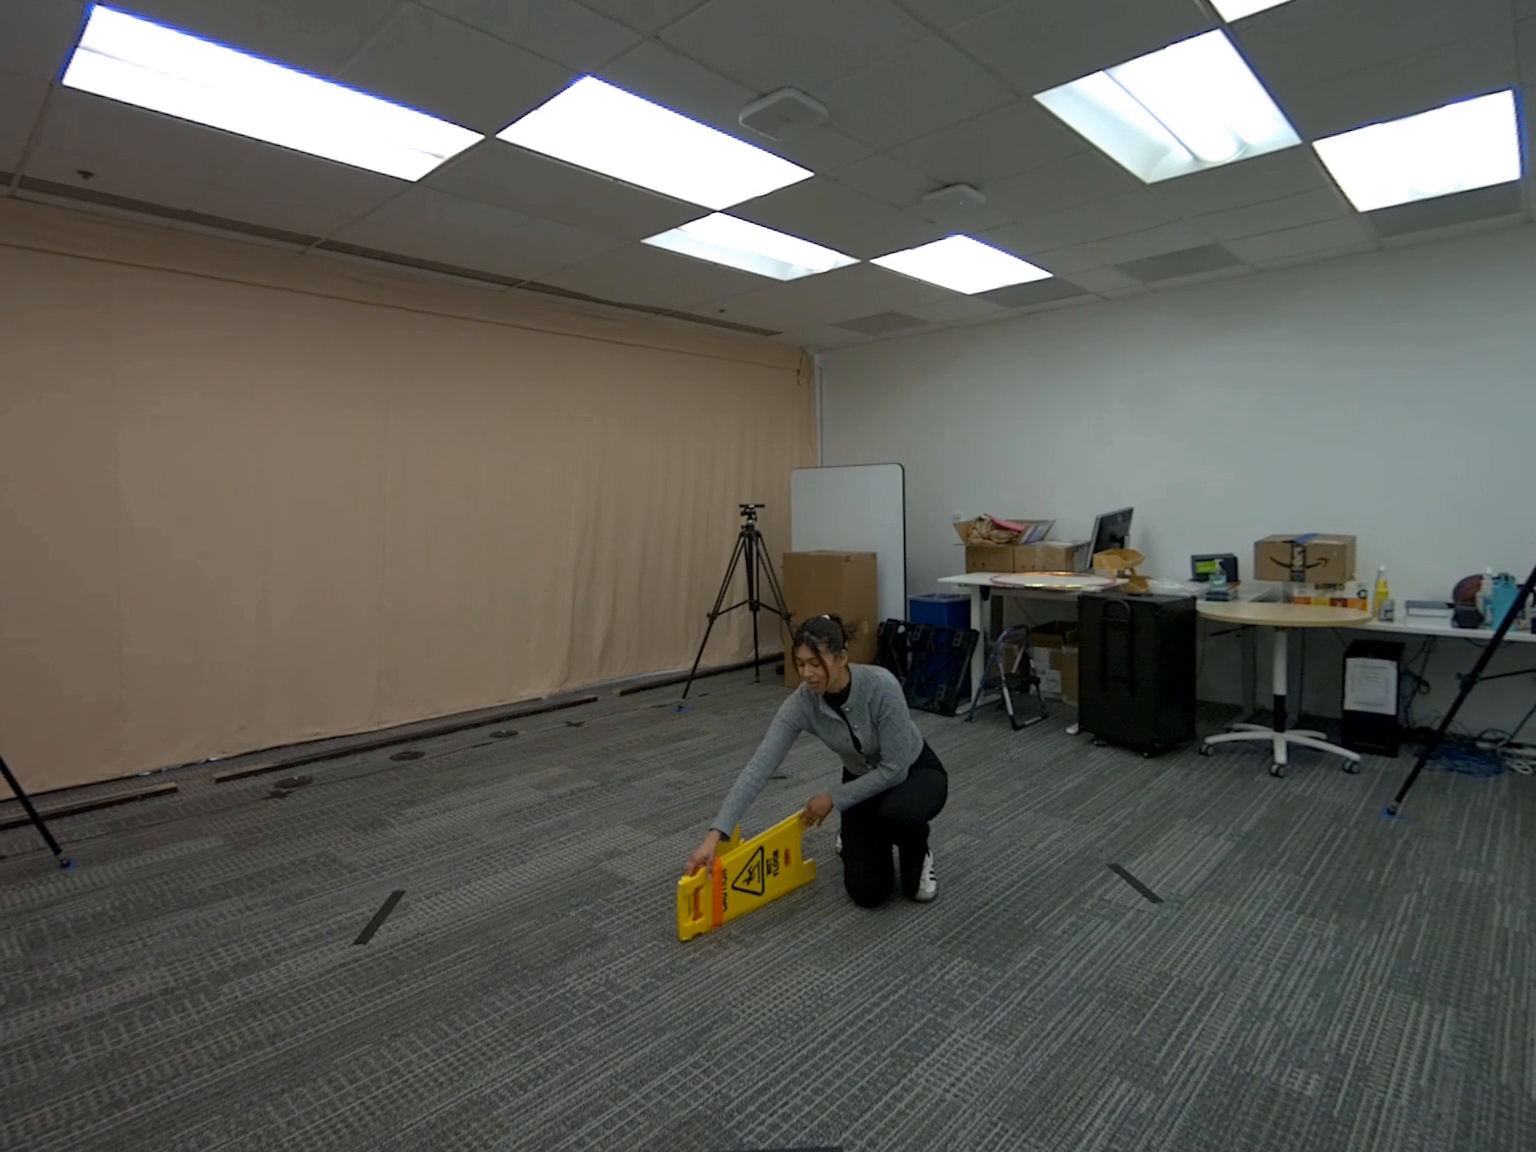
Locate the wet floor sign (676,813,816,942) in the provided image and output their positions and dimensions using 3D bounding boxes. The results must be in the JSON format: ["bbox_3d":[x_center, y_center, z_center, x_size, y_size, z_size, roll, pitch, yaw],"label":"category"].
[{"bbox_3d":[-0.115,1.023,2.931,0.299,0.281,0.630,5,10,32],"label":"wet floor sign"}]
